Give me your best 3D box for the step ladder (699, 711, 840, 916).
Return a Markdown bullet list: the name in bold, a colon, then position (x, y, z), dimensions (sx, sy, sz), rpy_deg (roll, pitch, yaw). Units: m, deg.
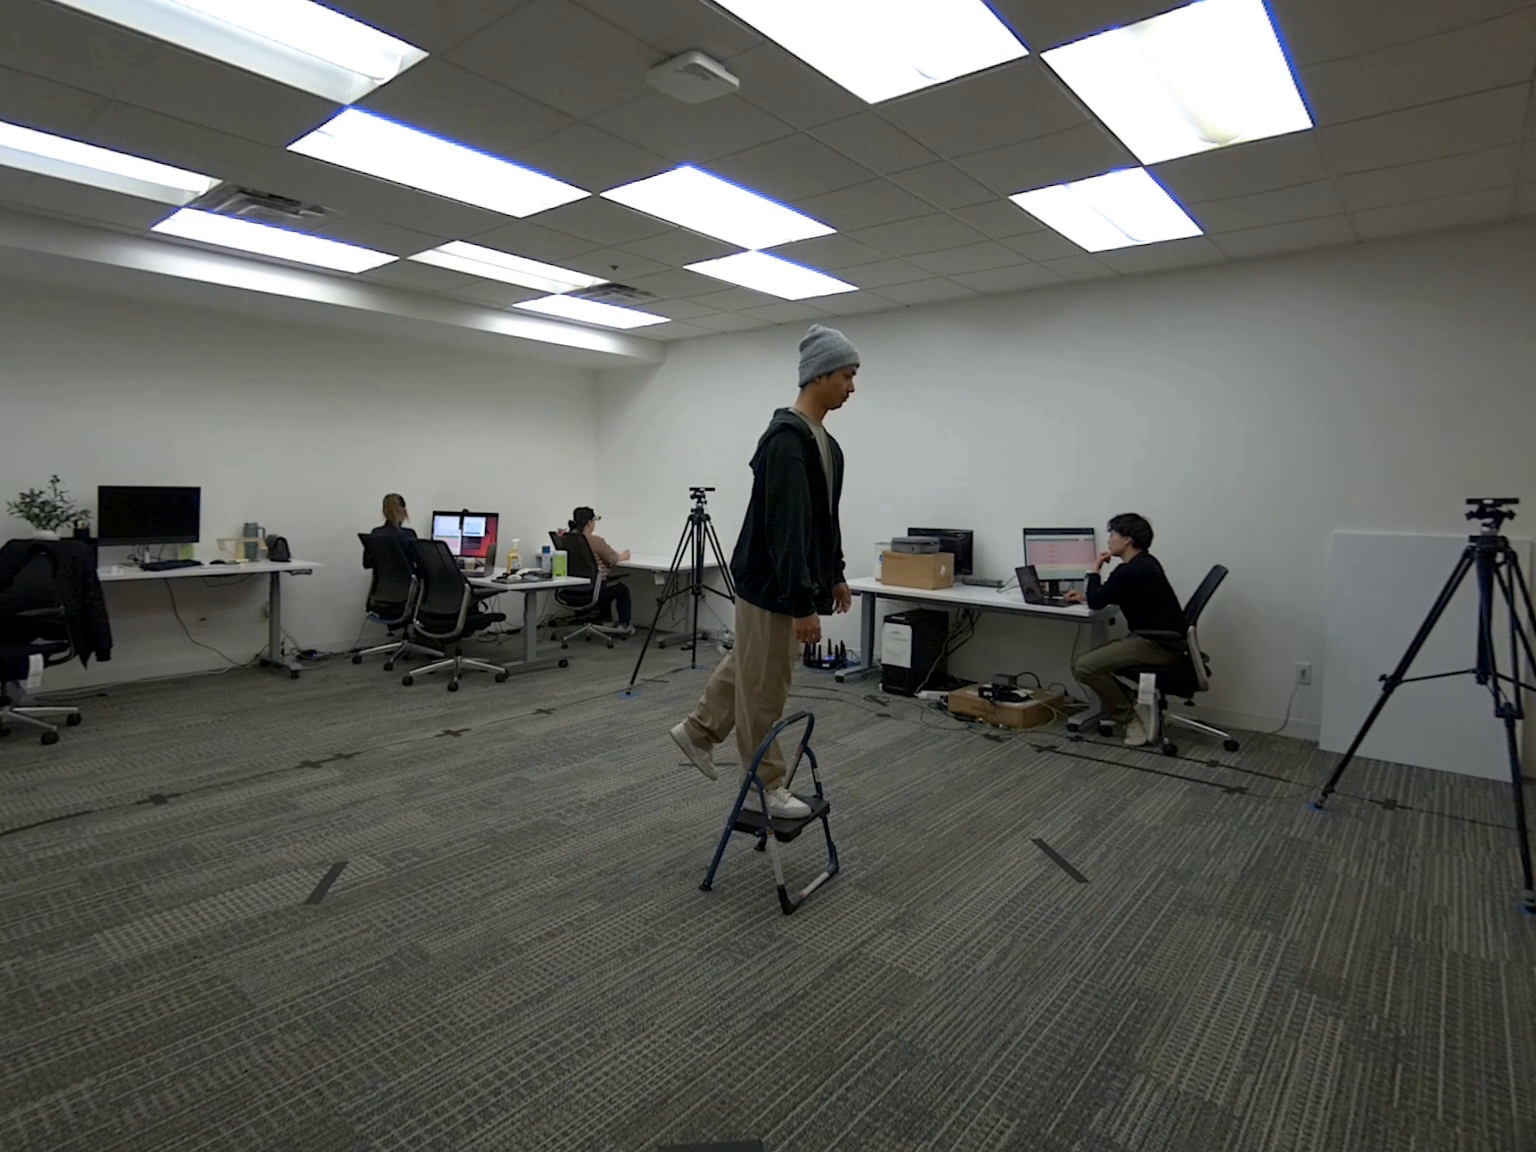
- **step ladder**: position (0.016, 0.779, 3.018), dimensions (0.359, 0.604, 0.420), rpy_deg (4, 4, 29)
